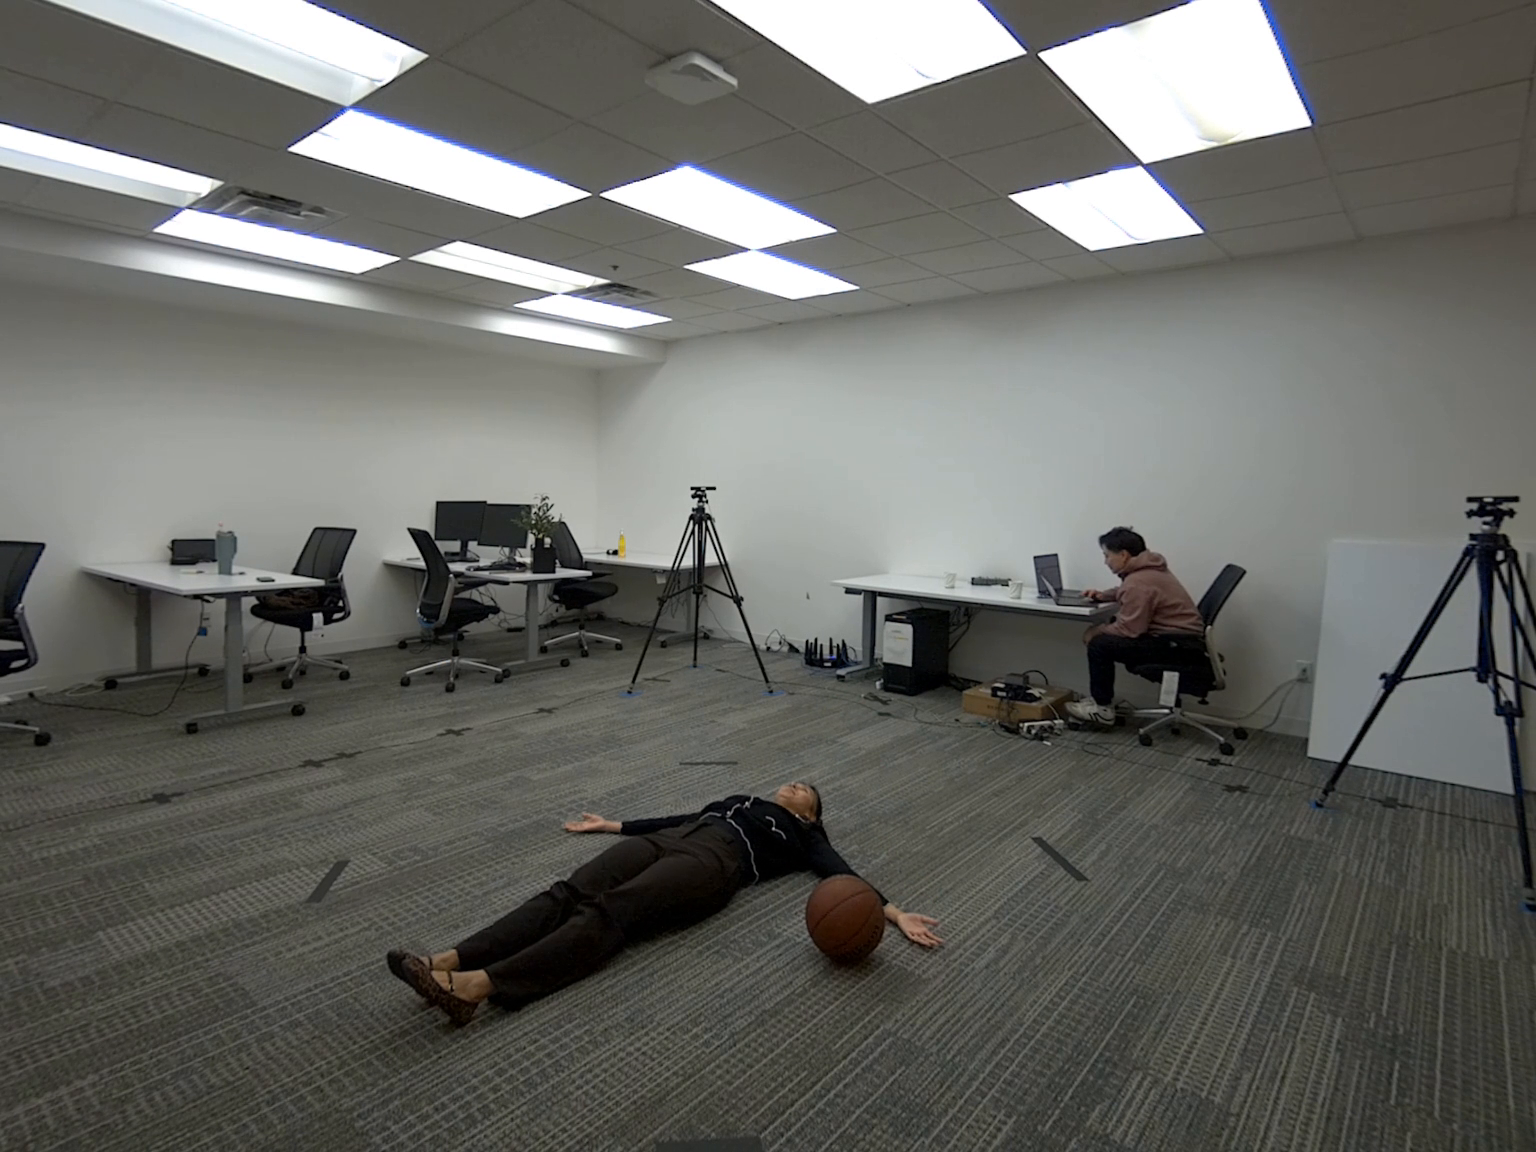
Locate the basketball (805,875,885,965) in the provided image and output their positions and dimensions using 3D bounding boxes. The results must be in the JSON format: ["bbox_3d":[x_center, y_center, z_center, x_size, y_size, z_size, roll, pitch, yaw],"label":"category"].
[{"bbox_3d":[0.227,1.010,2.535,0.236,0.235,0.237,1,4,-2],"label":"basketball"}]
